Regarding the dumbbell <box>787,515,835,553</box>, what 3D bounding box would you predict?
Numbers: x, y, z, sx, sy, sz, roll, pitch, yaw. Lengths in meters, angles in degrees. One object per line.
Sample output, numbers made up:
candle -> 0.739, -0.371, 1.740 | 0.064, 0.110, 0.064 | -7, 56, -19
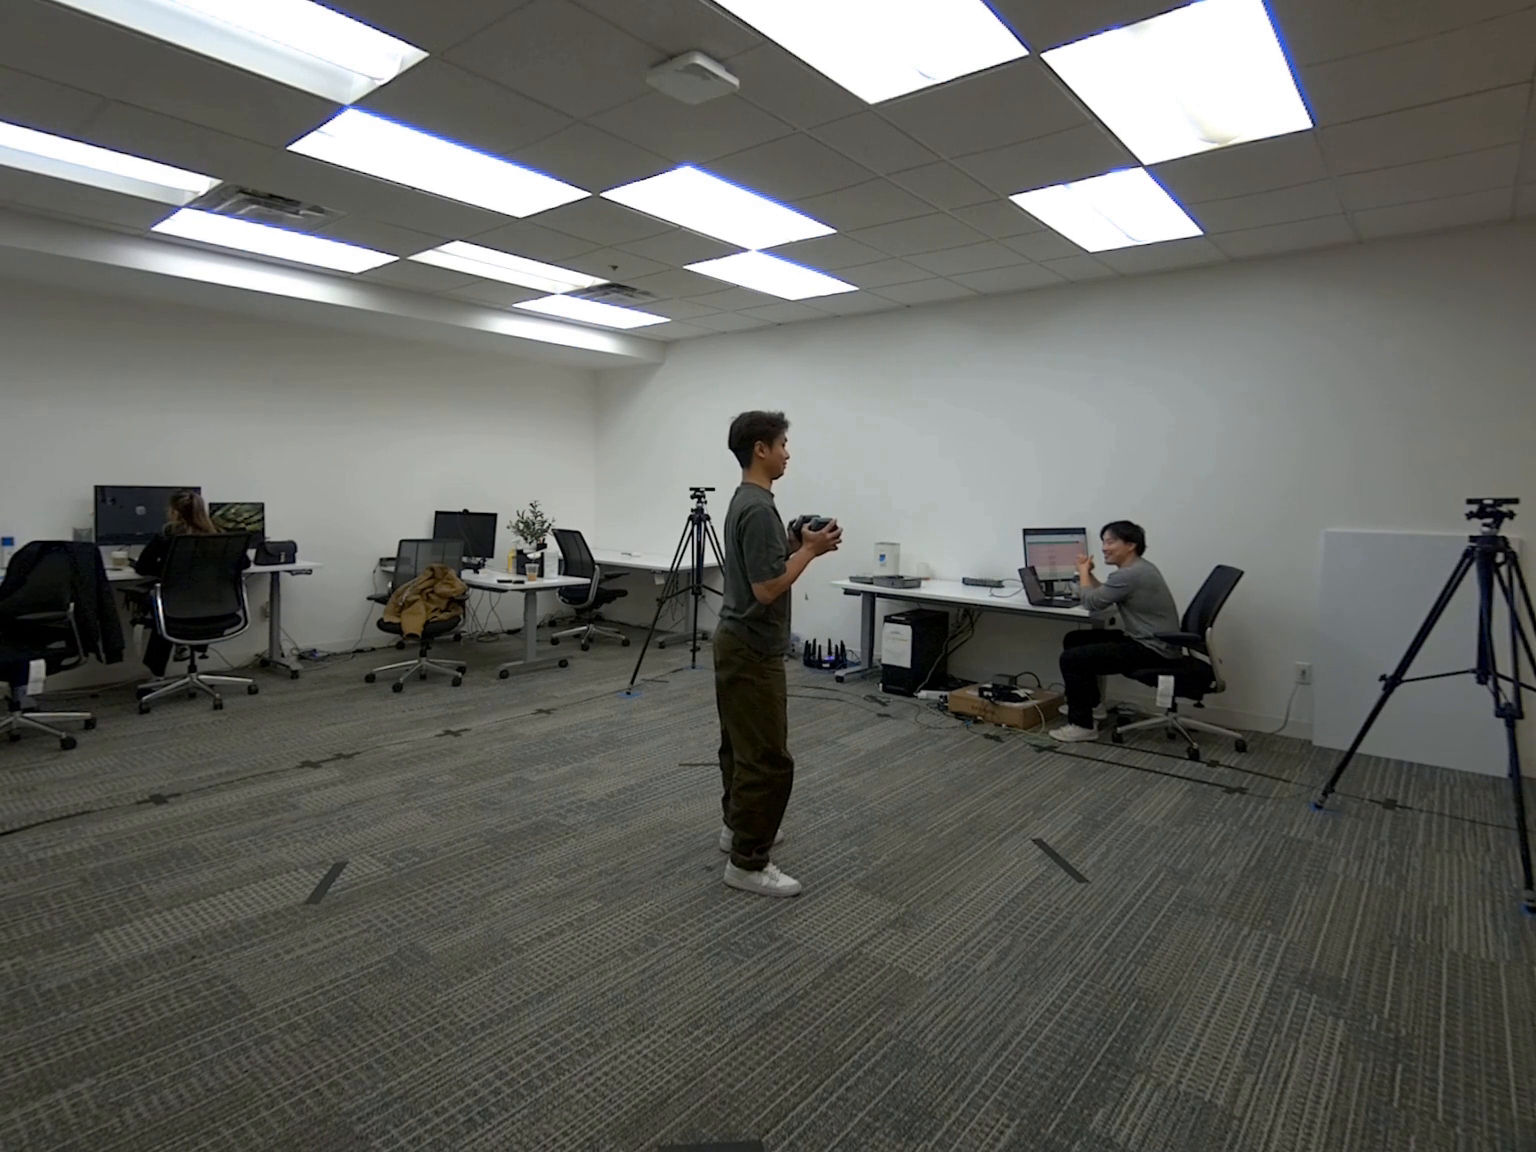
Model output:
dumbbell -> 0.149, -0.158, 3.113 | 0.107, 0.123, 0.298 | 33, 2, -13
